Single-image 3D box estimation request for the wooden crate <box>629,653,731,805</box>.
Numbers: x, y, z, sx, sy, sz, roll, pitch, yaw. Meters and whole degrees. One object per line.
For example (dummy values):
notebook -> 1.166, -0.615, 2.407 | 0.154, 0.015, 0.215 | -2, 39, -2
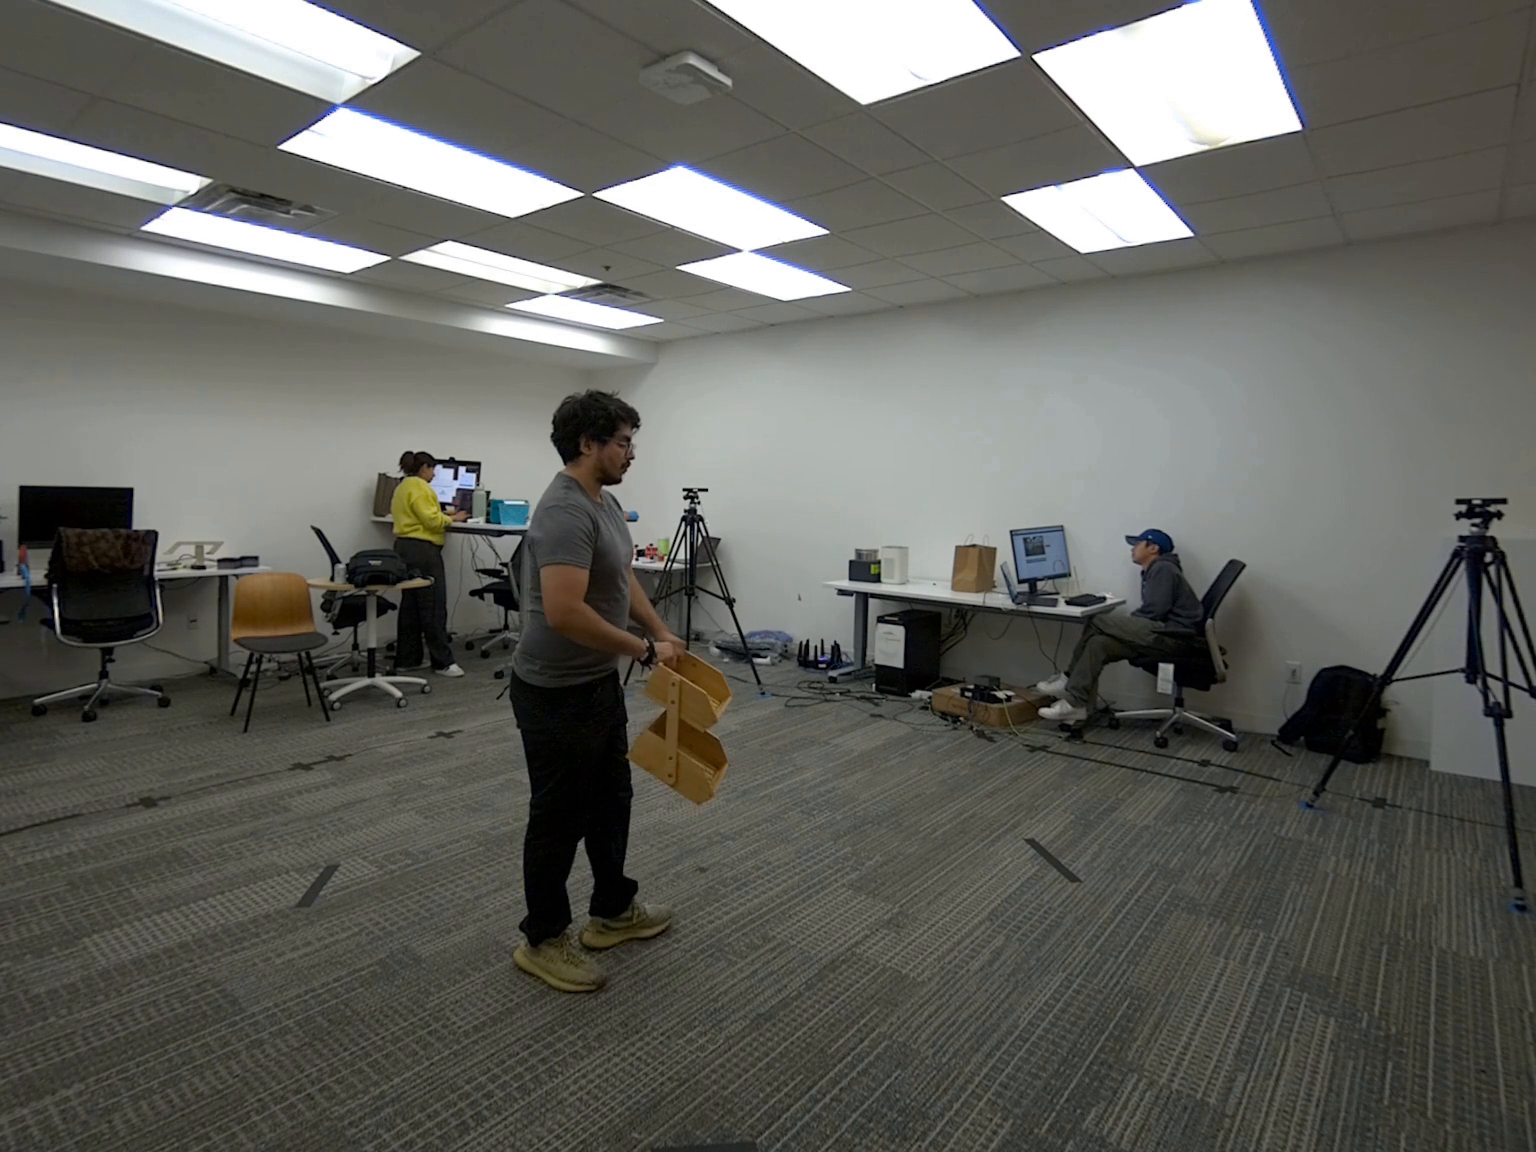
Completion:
wooden crate -> -0.212, 0.405, 2.348 | 0.305, 0.273, 0.322 | 31, 6, 4
